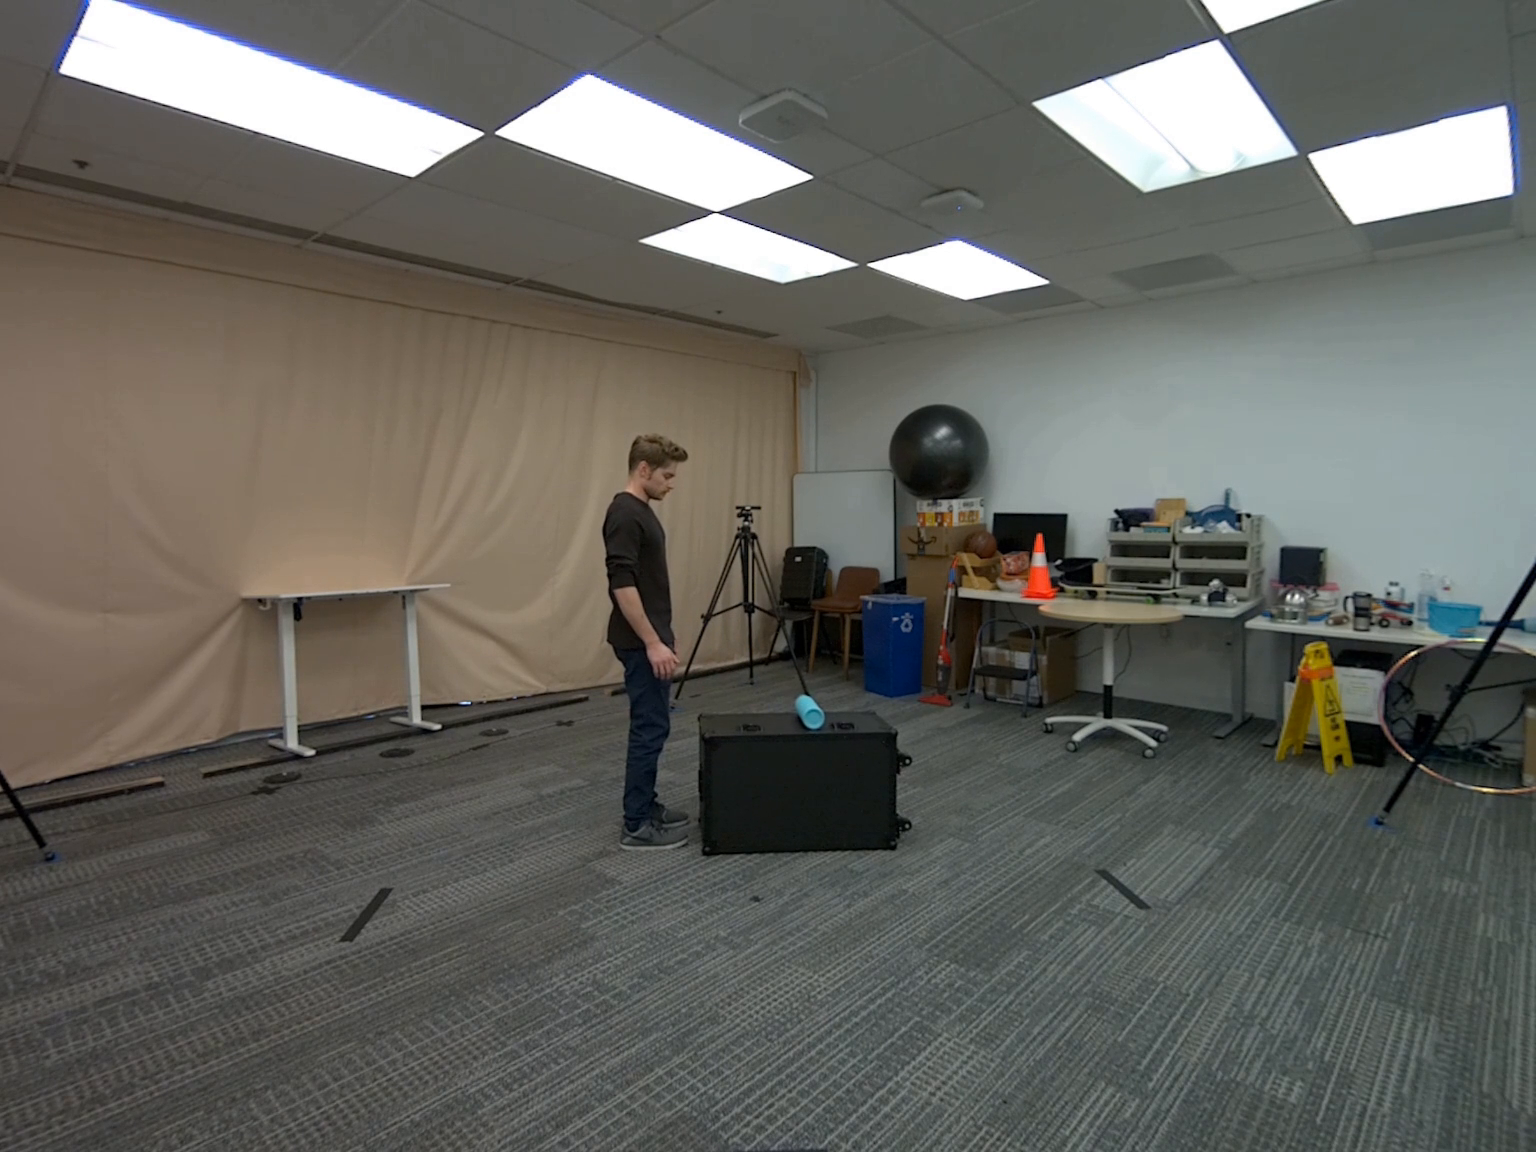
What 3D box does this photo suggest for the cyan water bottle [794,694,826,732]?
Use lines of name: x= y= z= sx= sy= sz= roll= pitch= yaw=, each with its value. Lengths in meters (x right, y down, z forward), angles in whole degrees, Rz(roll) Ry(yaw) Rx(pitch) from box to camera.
cyan water bottle: x=0.173 y=0.570 z=3.558 sx=0.092 sy=0.092 sz=0.285 roll=0 pitch=4 yaw=-5
